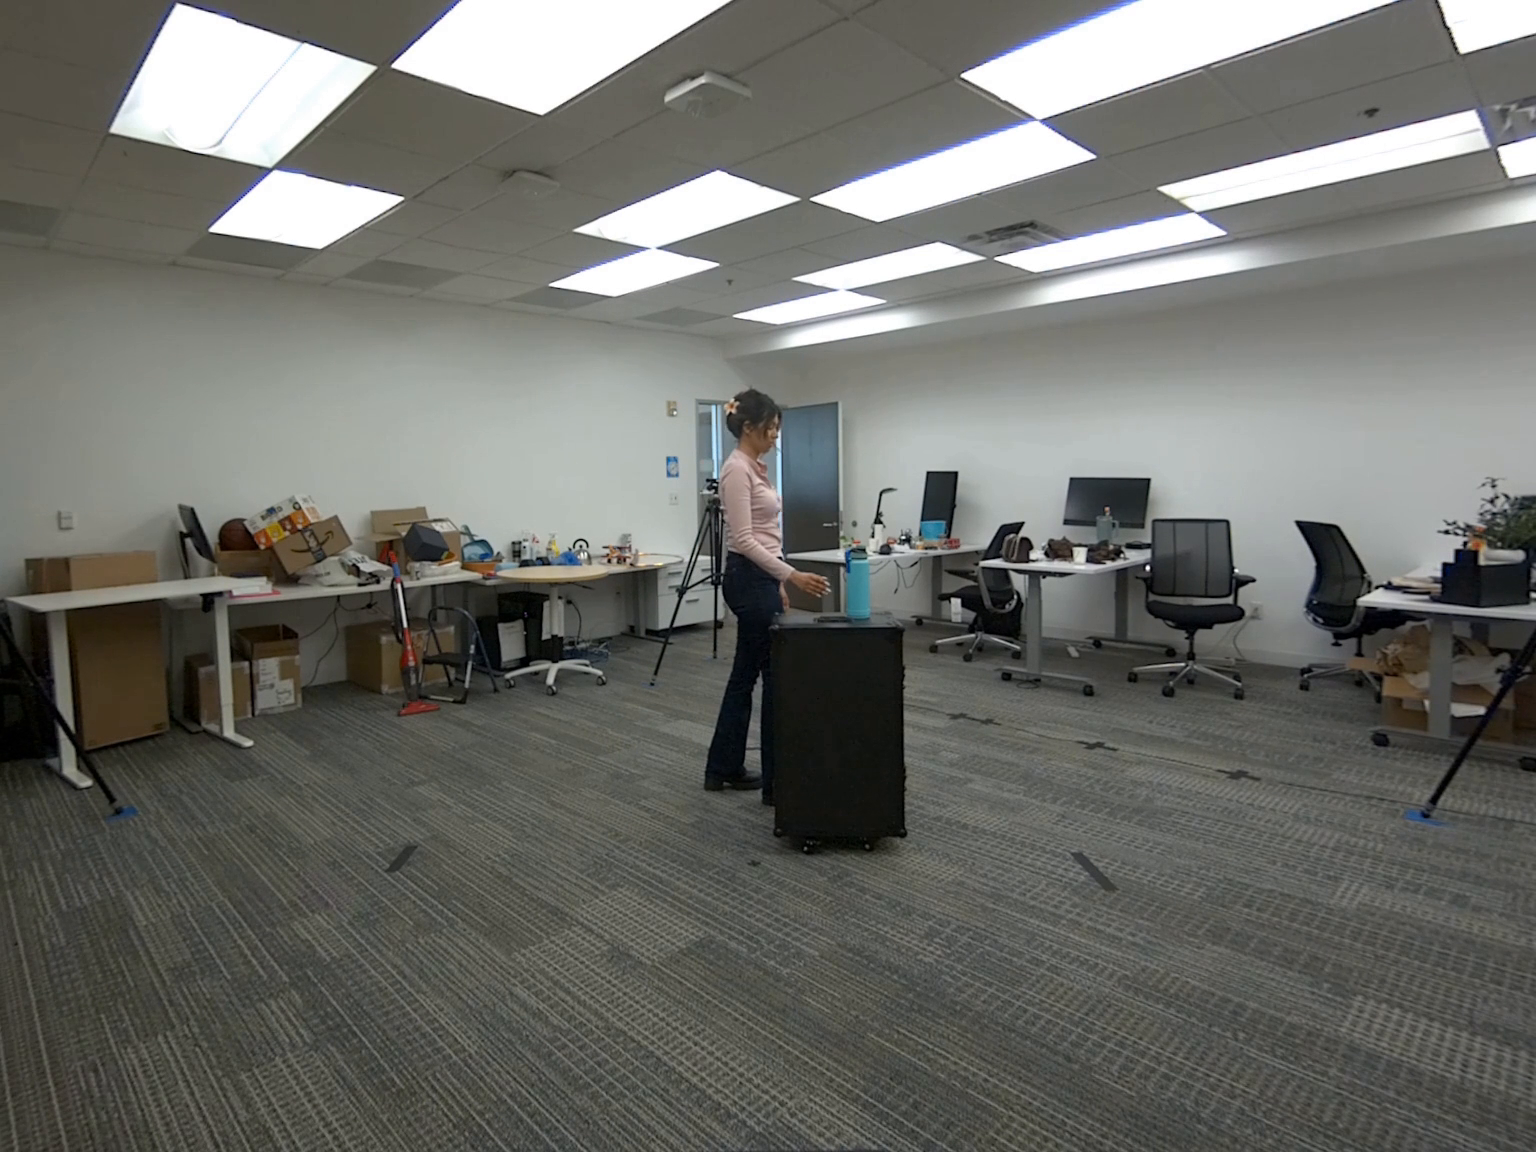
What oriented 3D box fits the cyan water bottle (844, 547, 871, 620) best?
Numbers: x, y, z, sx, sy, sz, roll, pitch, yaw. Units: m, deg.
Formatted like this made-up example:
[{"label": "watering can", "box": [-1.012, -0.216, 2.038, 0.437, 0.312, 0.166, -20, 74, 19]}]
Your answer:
[{"label": "cyan water bottle", "box": [0.355, 0.021, 3.334, 0.092, 0.281, 0.093, -3, 6, -1]}]
